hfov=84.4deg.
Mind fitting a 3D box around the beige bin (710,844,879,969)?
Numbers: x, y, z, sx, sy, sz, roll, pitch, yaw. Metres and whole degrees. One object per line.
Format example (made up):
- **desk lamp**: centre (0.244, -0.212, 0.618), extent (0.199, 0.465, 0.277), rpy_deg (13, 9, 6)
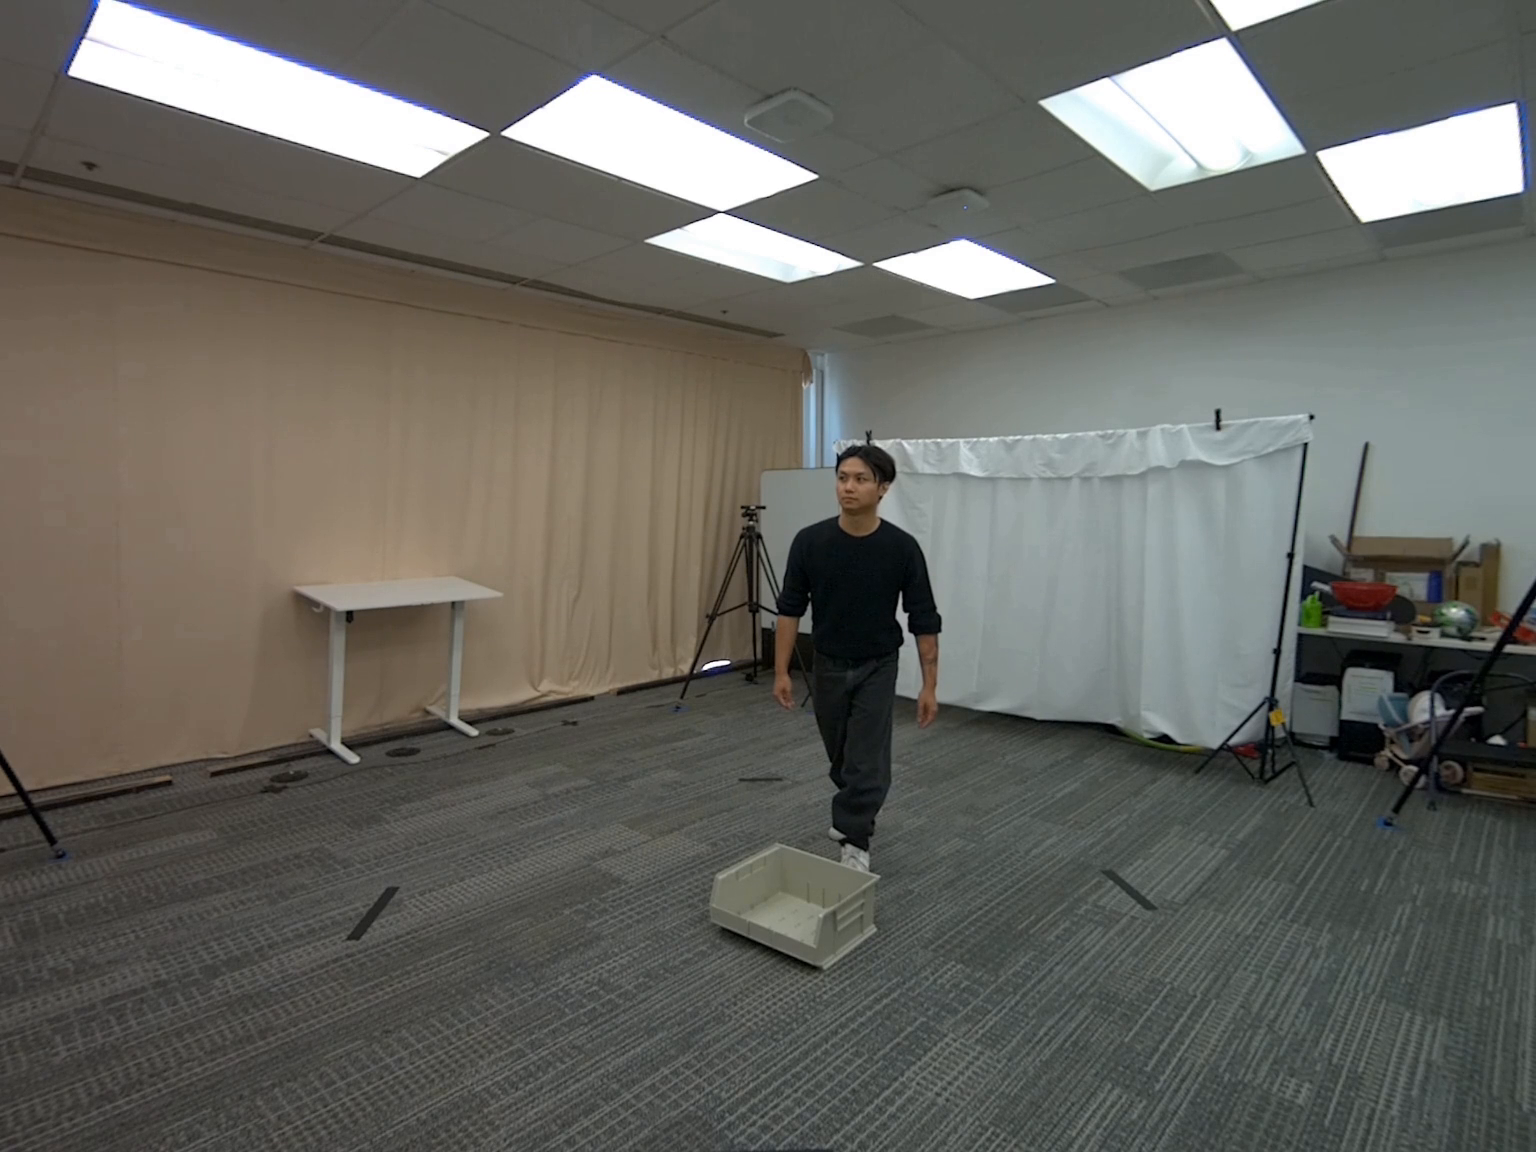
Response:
- **beige bin**: centre (0.089, 1.075, 2.751), extent (0.436, 0.189, 0.366), rpy_deg (3, 4, 39)
